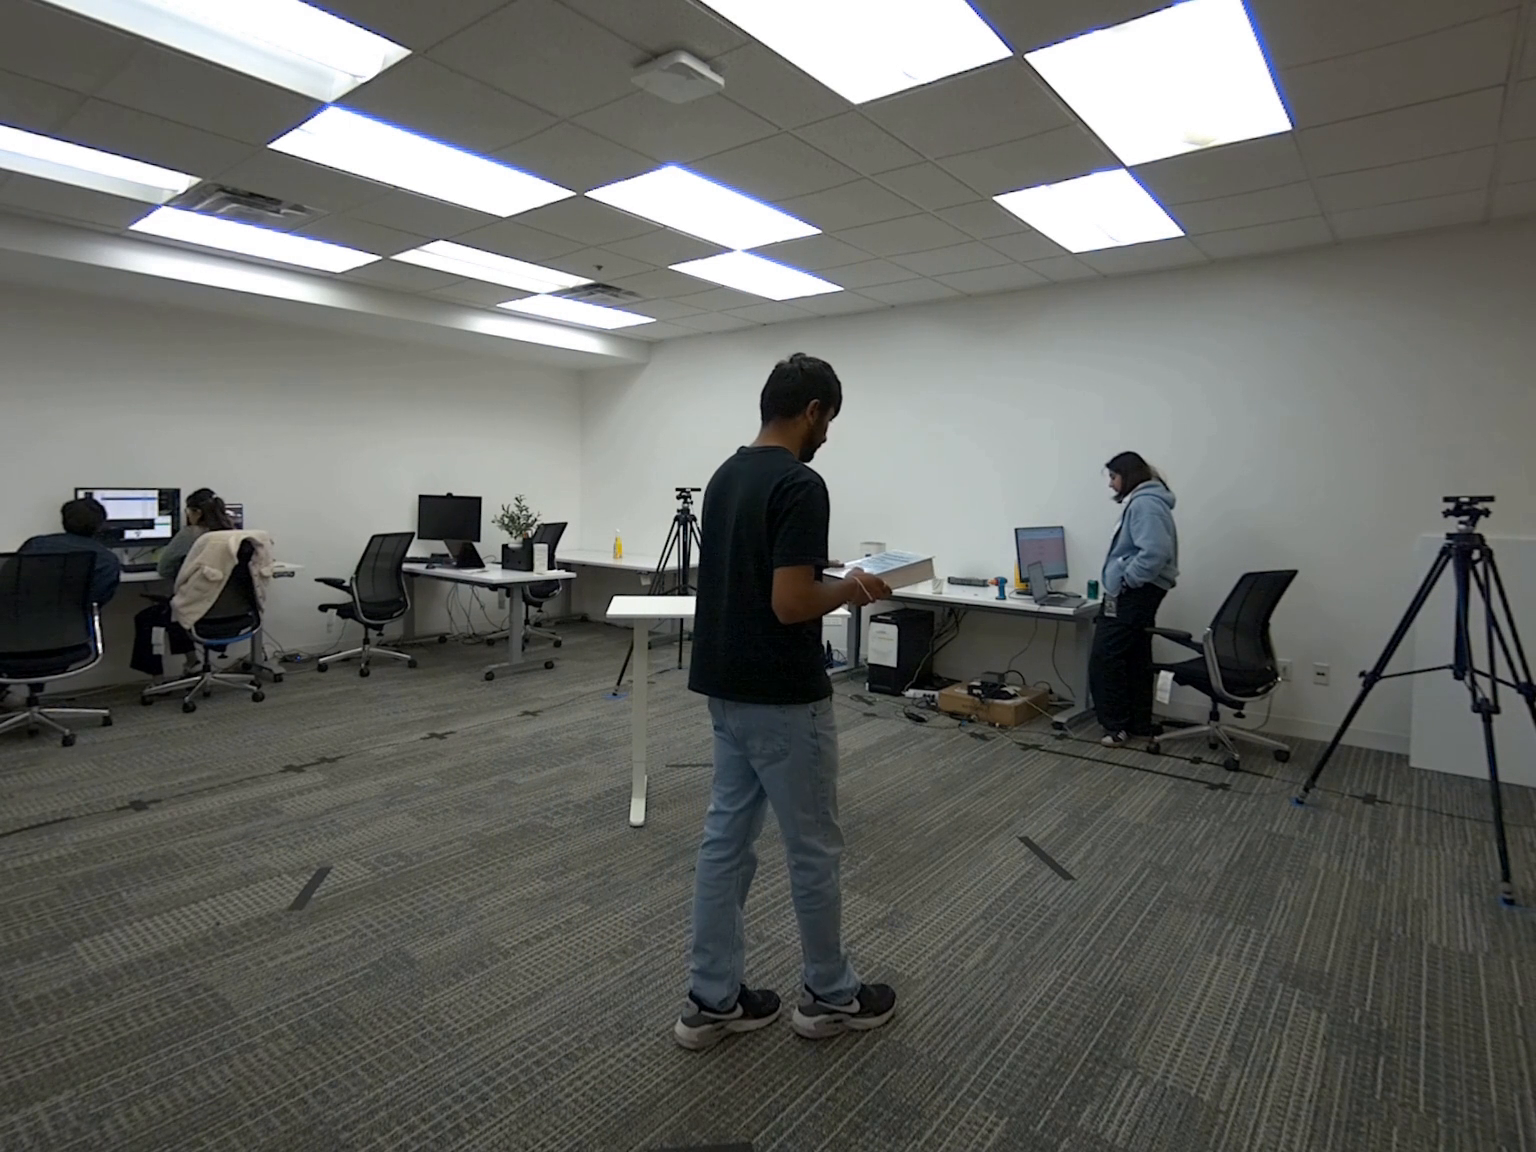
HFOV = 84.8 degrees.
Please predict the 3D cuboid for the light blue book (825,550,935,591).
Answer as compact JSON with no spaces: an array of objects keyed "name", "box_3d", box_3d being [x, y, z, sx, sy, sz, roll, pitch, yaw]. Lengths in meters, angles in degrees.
[{"name":"light blue book","box_3d":[0.289,-0.005,2.291,0.256,0.058,0.197,-15,14,-24]}]
